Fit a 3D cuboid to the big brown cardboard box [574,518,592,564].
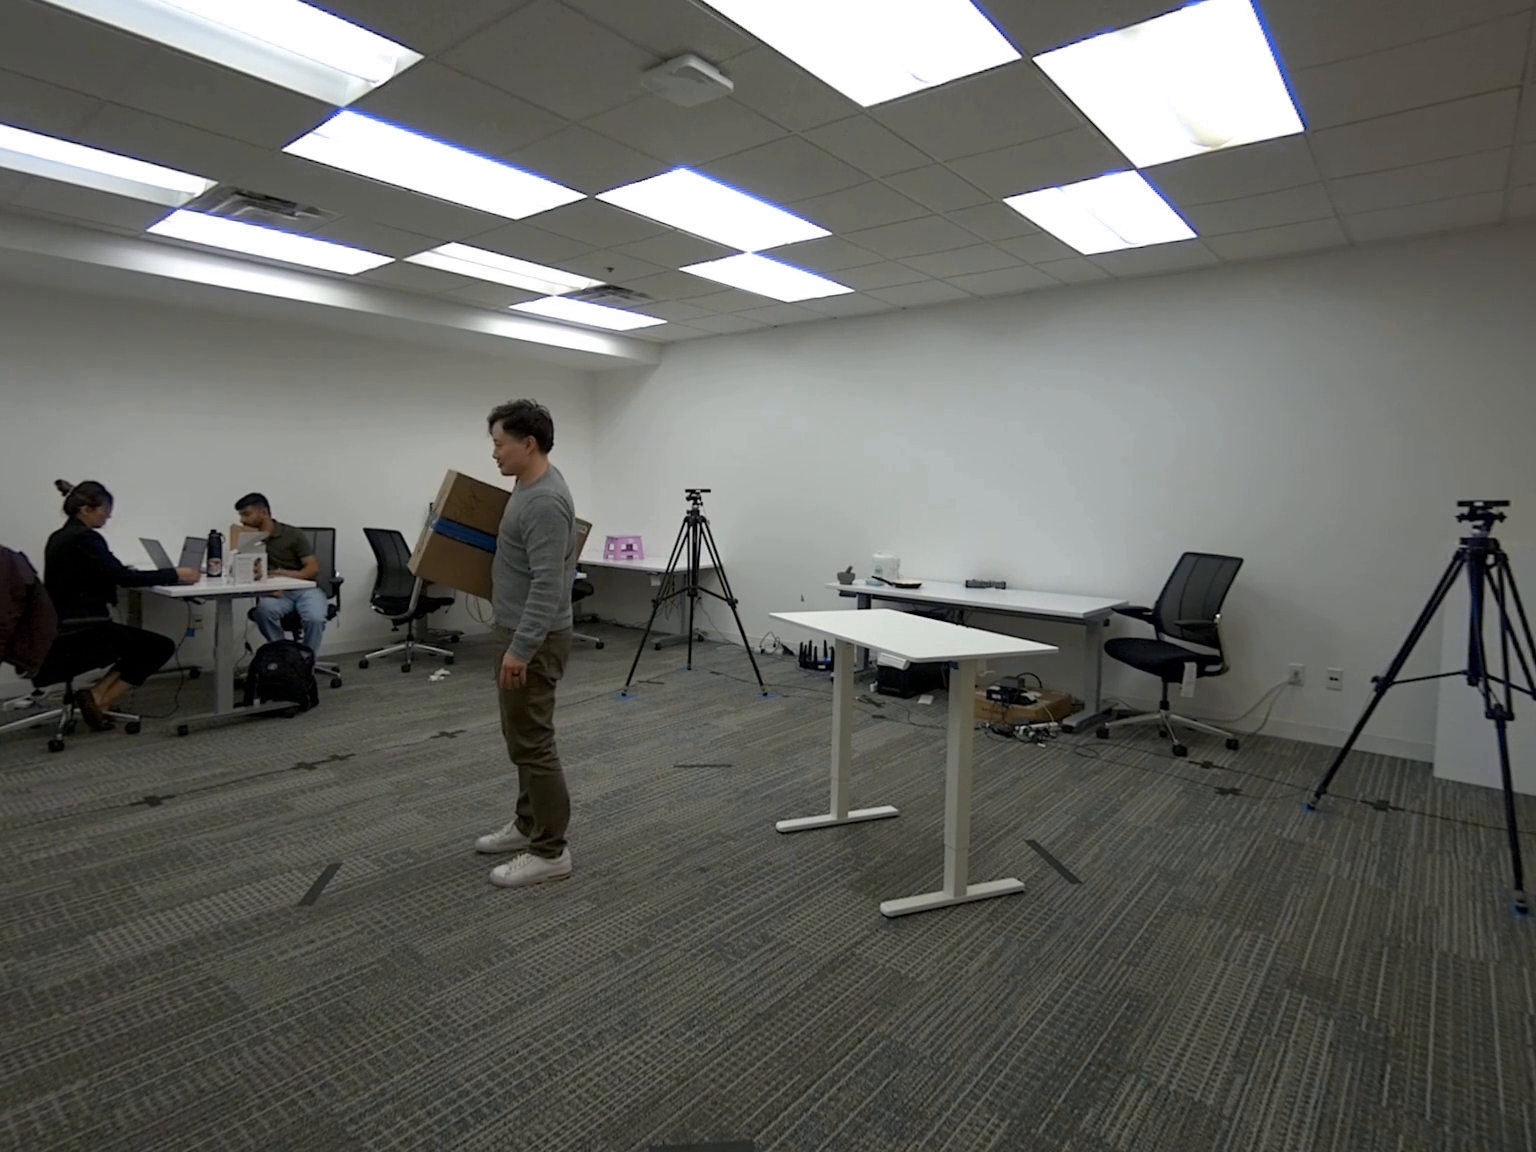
[{"bbox_3d":[-1.056,-0.116,3.350,0.570,0.418,0.240,21,-2,-27],"label":"big brown cardboard box"}]
